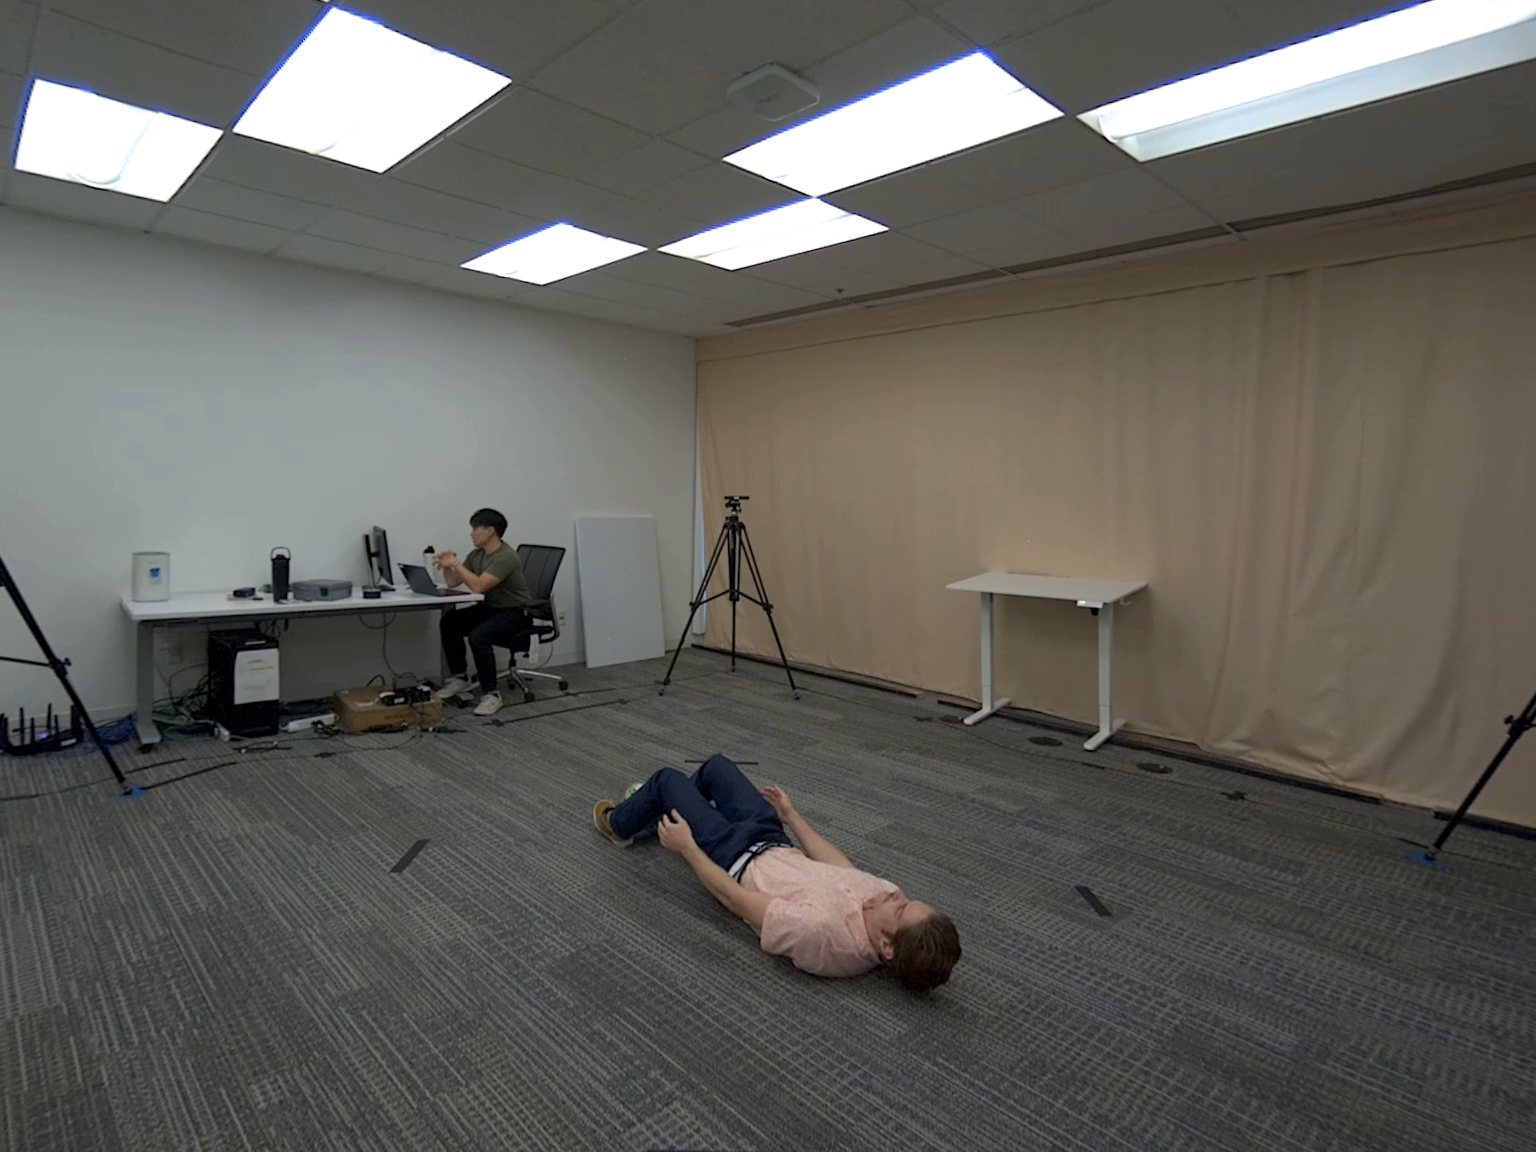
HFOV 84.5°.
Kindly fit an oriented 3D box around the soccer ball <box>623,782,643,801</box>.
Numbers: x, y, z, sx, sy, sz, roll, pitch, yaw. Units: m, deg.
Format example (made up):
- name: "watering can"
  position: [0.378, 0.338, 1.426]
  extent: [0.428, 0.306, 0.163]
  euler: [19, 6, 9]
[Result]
- name: "soccer ball"
  position: [-0.498, 0.929, 3.418]
  extent: [0.187, 0.187, 0.188]
  euler: [1, 4, -1]
